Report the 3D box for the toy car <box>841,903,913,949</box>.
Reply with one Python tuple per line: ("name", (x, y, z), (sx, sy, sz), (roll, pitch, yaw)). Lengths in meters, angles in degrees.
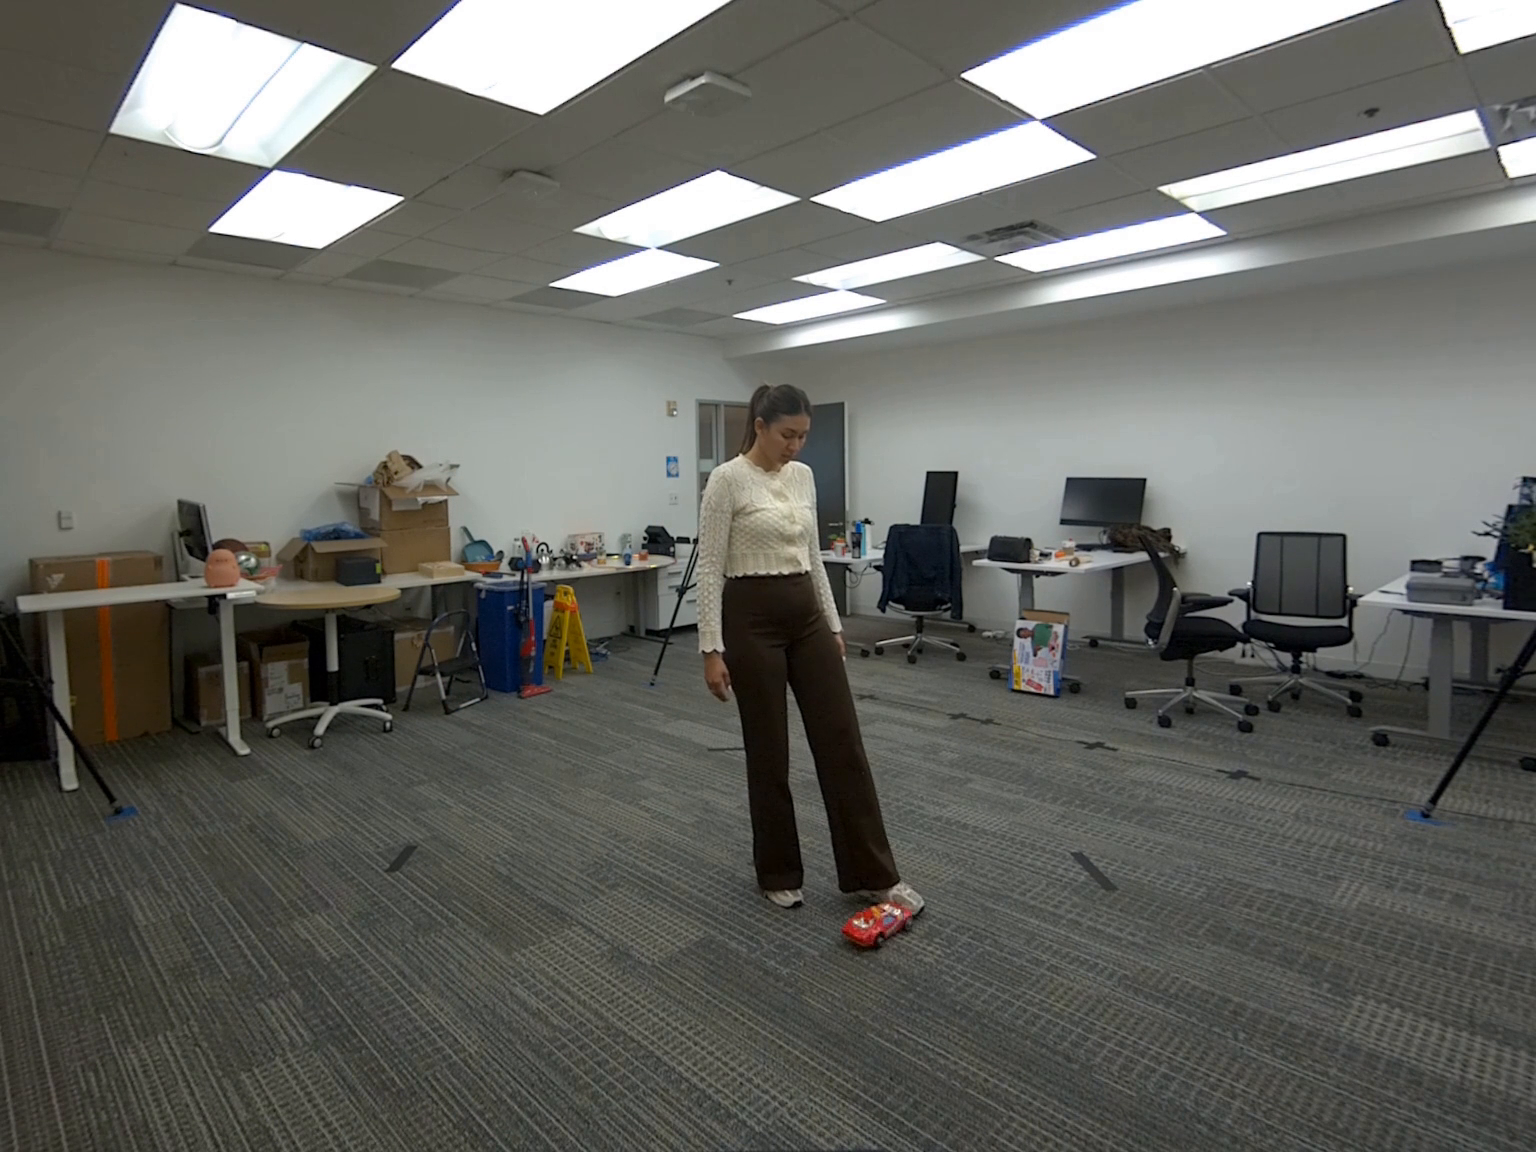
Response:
("toy car", (0.326, 1.067, 2.599), (0.246, 0.083, 0.134), (8, -1, -42))
